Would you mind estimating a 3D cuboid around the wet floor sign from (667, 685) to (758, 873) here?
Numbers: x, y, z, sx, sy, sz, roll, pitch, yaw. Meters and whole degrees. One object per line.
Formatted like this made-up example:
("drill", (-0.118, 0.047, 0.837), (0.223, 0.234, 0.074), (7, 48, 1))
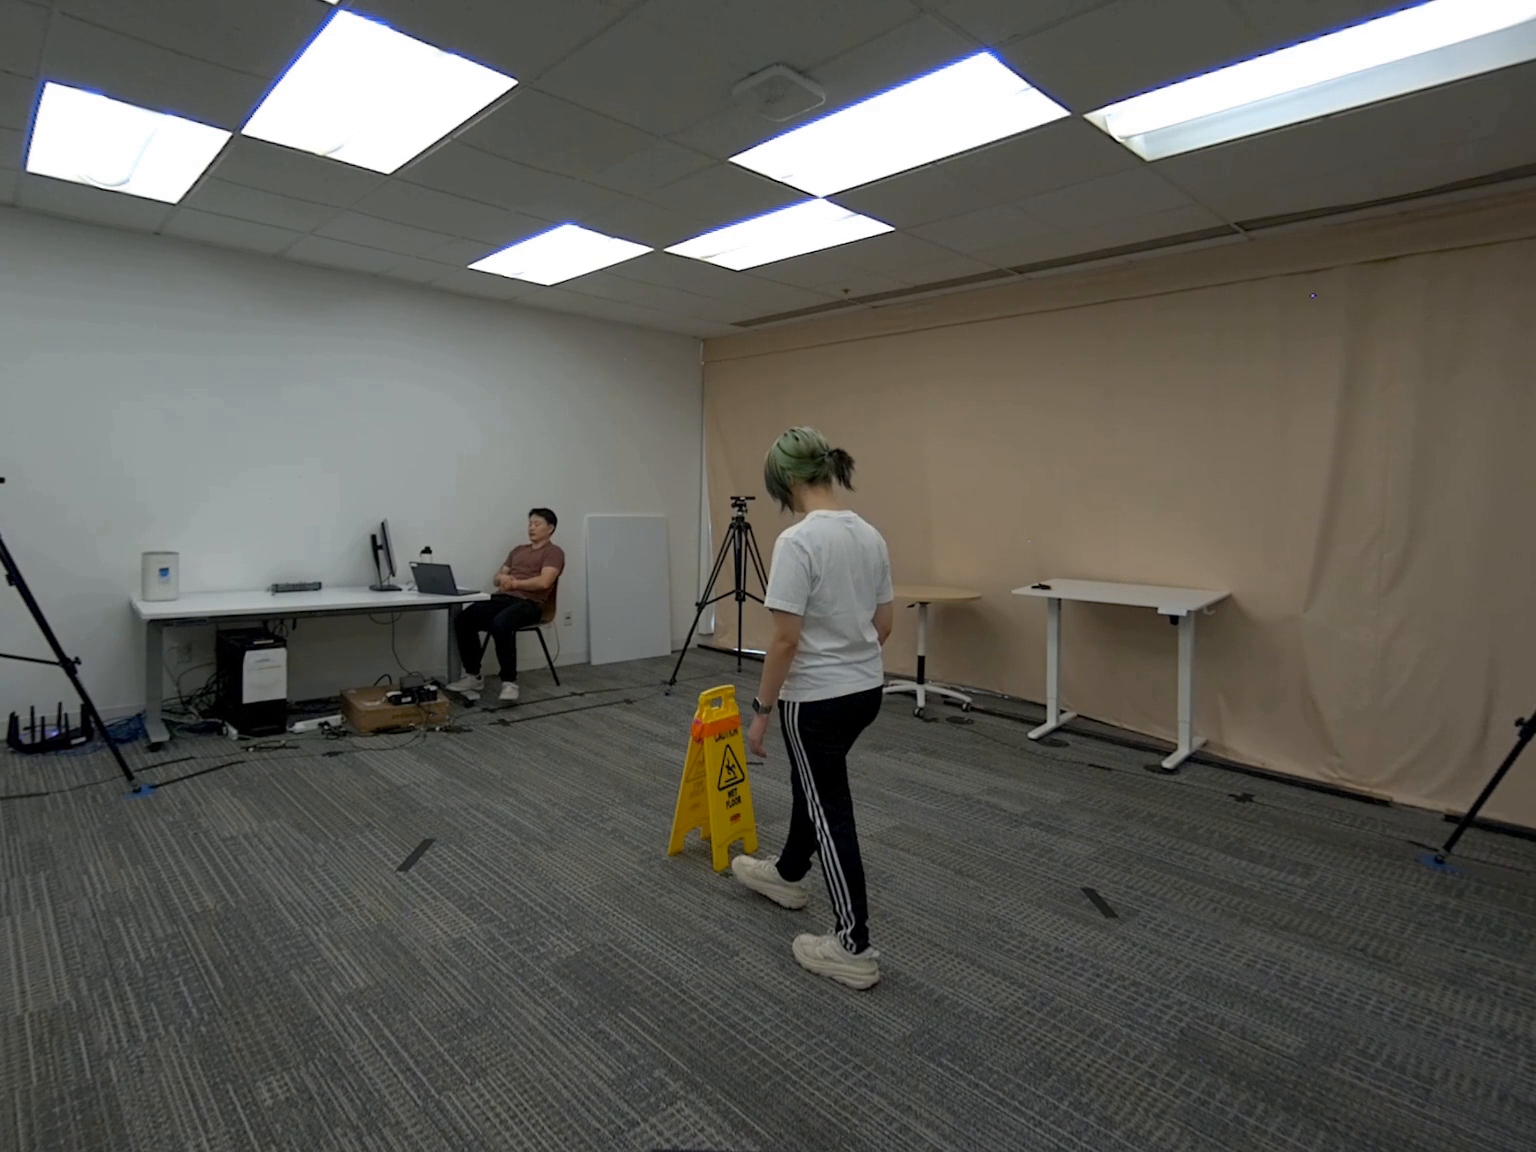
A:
("wet floor sign", (-0.217, 0.760, 3.288), (0.296, 0.645, 0.276), (3, 3, 34))
